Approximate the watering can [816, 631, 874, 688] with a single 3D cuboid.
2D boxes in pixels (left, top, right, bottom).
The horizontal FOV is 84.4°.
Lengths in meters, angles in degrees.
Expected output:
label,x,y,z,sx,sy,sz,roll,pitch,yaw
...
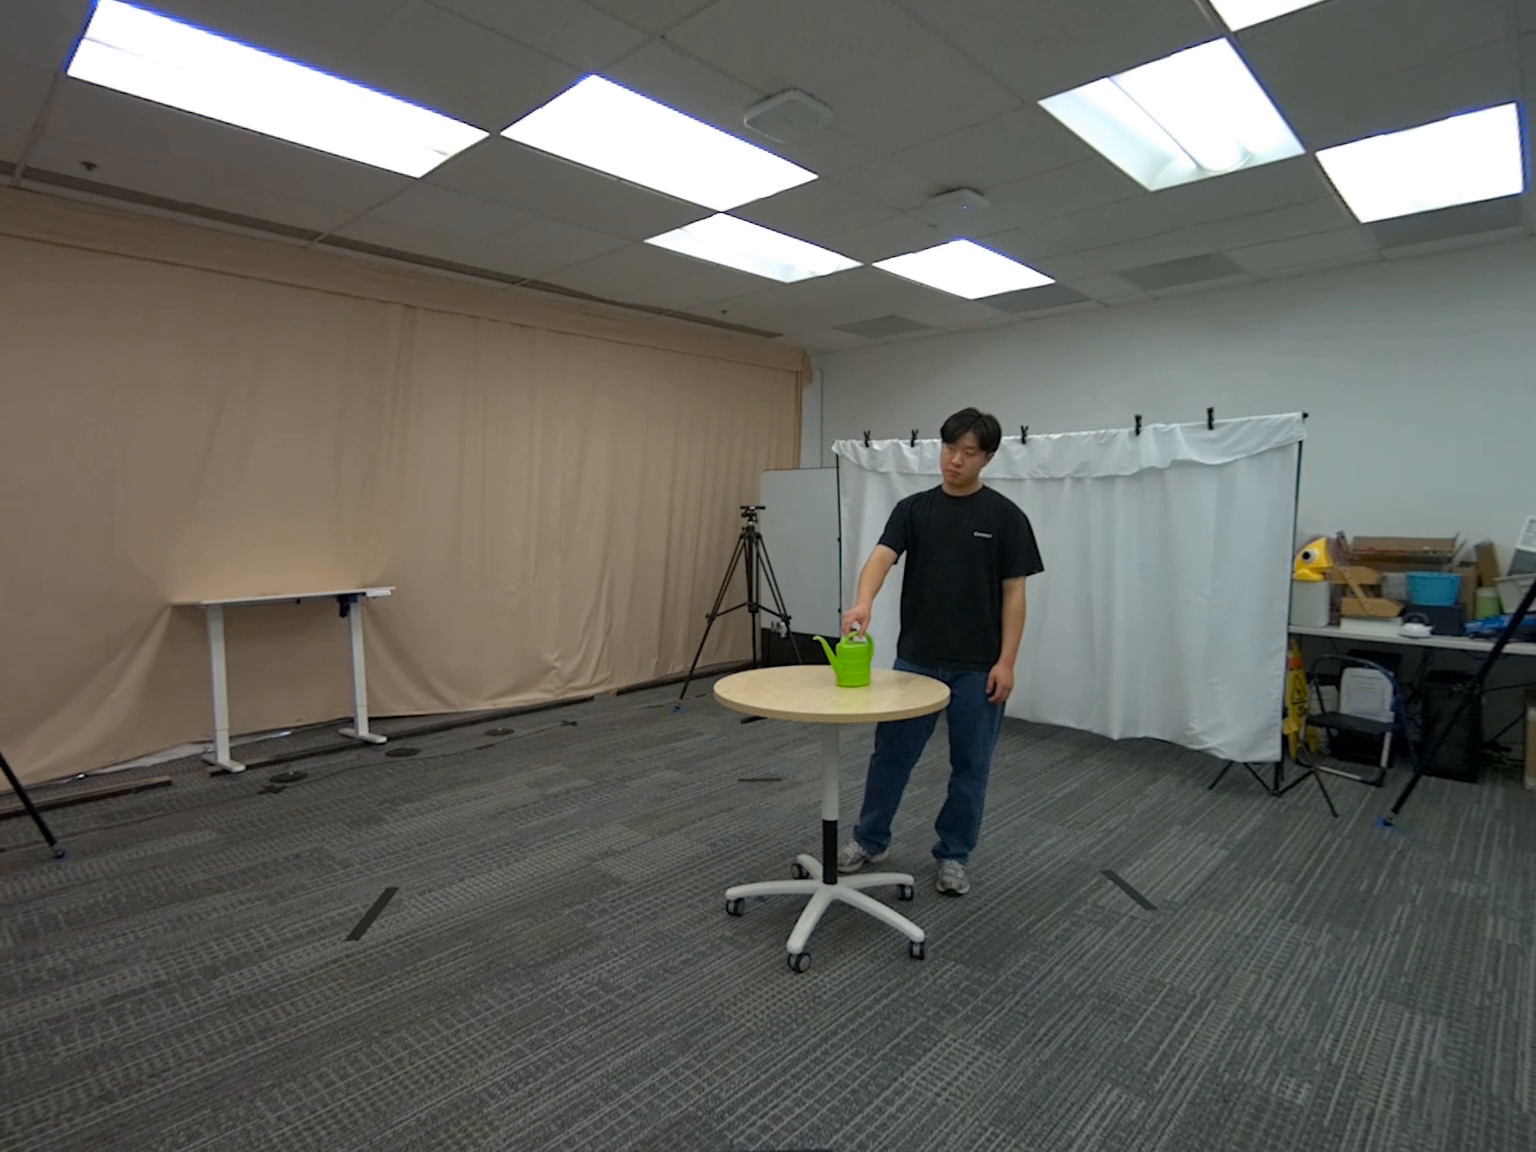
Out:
label,x,y,z,sx,sy,sz,roll,pitch,yaw
watering can,0.253,0.277,2.780,0.271,0.176,0.100,-1,2,-27
